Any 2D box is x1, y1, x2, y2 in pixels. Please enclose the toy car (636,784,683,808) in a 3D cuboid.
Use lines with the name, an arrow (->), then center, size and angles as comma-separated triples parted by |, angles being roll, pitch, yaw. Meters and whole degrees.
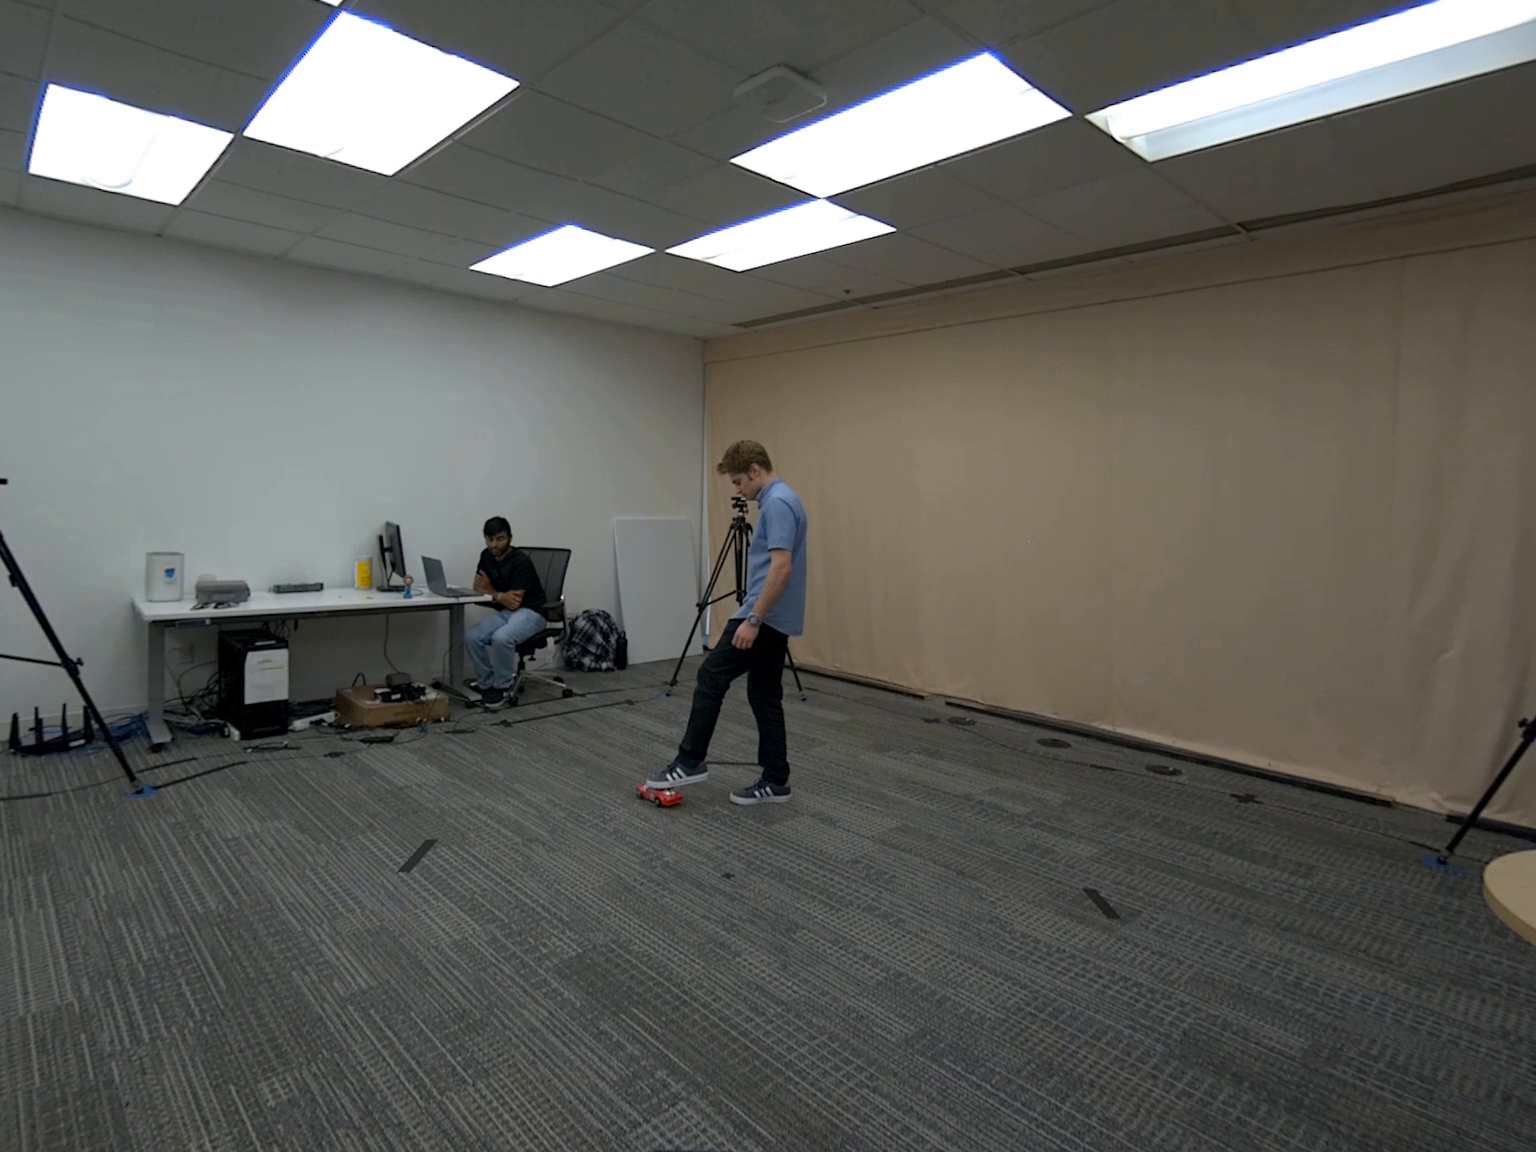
toy car -> -0.509, 1.003, 3.858 | 0.127, 0.083, 0.259 | -2, -5, -43
